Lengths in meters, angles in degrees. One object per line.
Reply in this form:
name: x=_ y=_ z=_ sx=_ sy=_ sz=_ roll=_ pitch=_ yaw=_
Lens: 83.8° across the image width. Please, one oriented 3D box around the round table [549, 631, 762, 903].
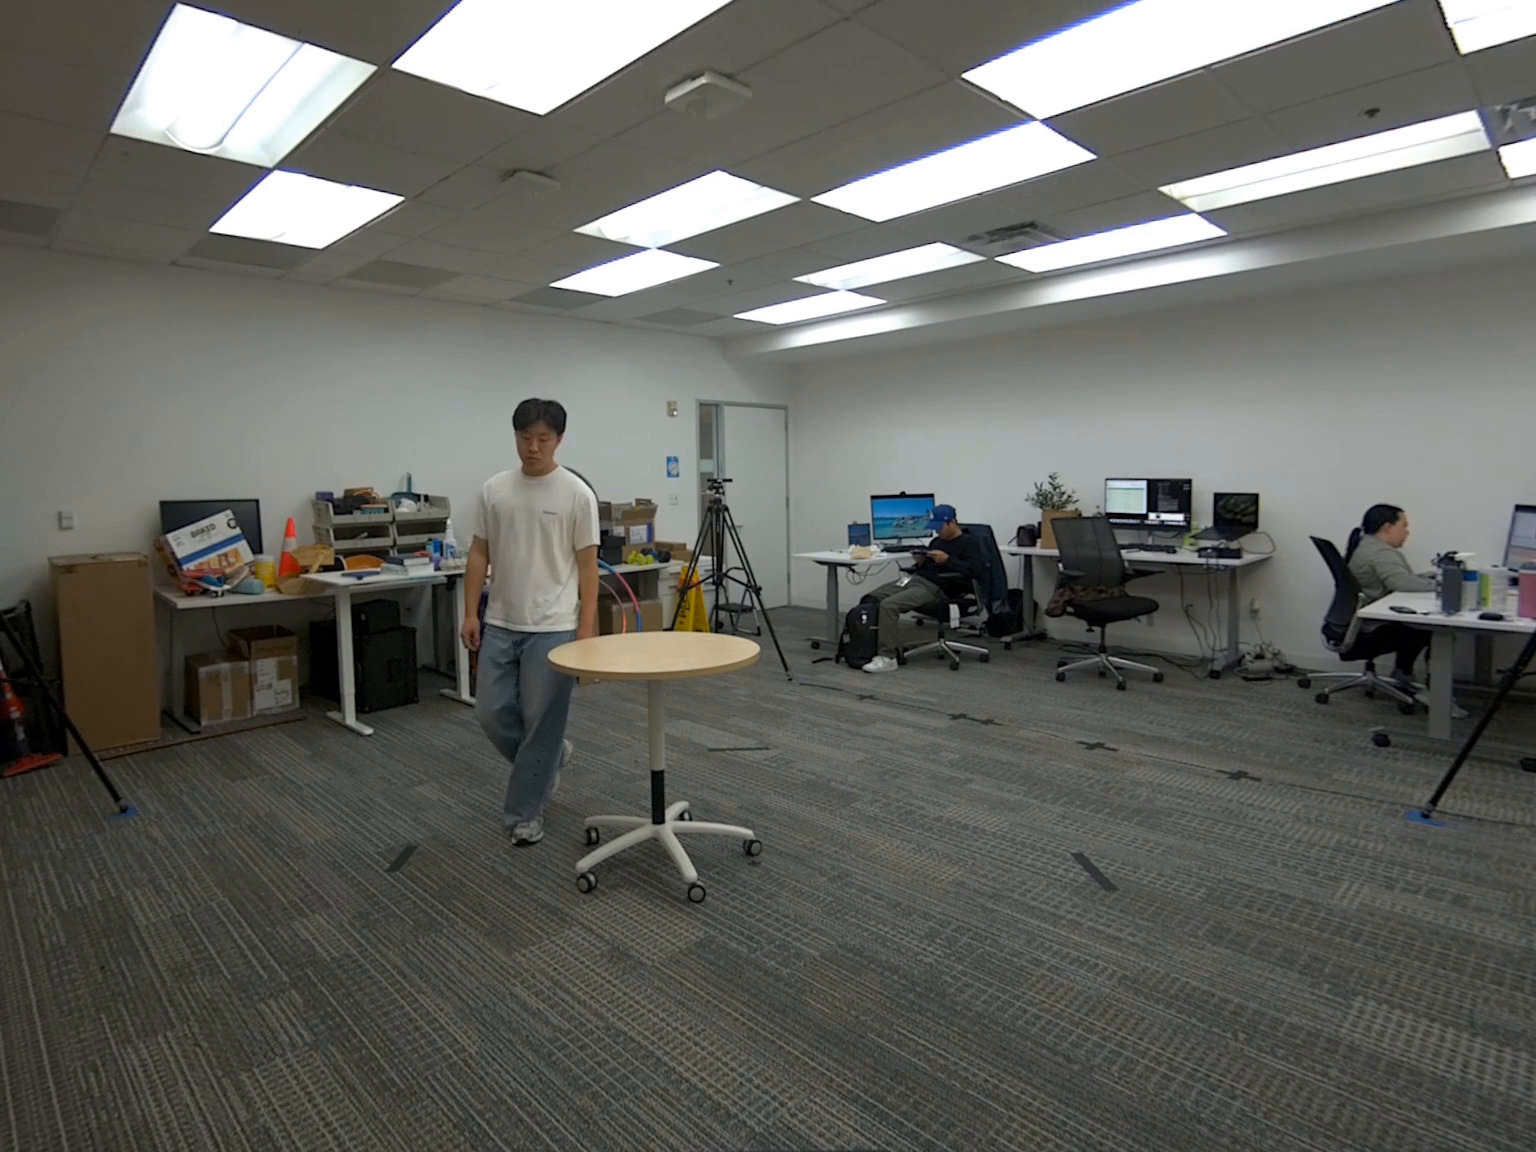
round table: x=-0.397 y=0.662 z=3.125 sx=0.763 sy=0.791 sz=0.767 roll=-1 pitch=4 yaw=-2
